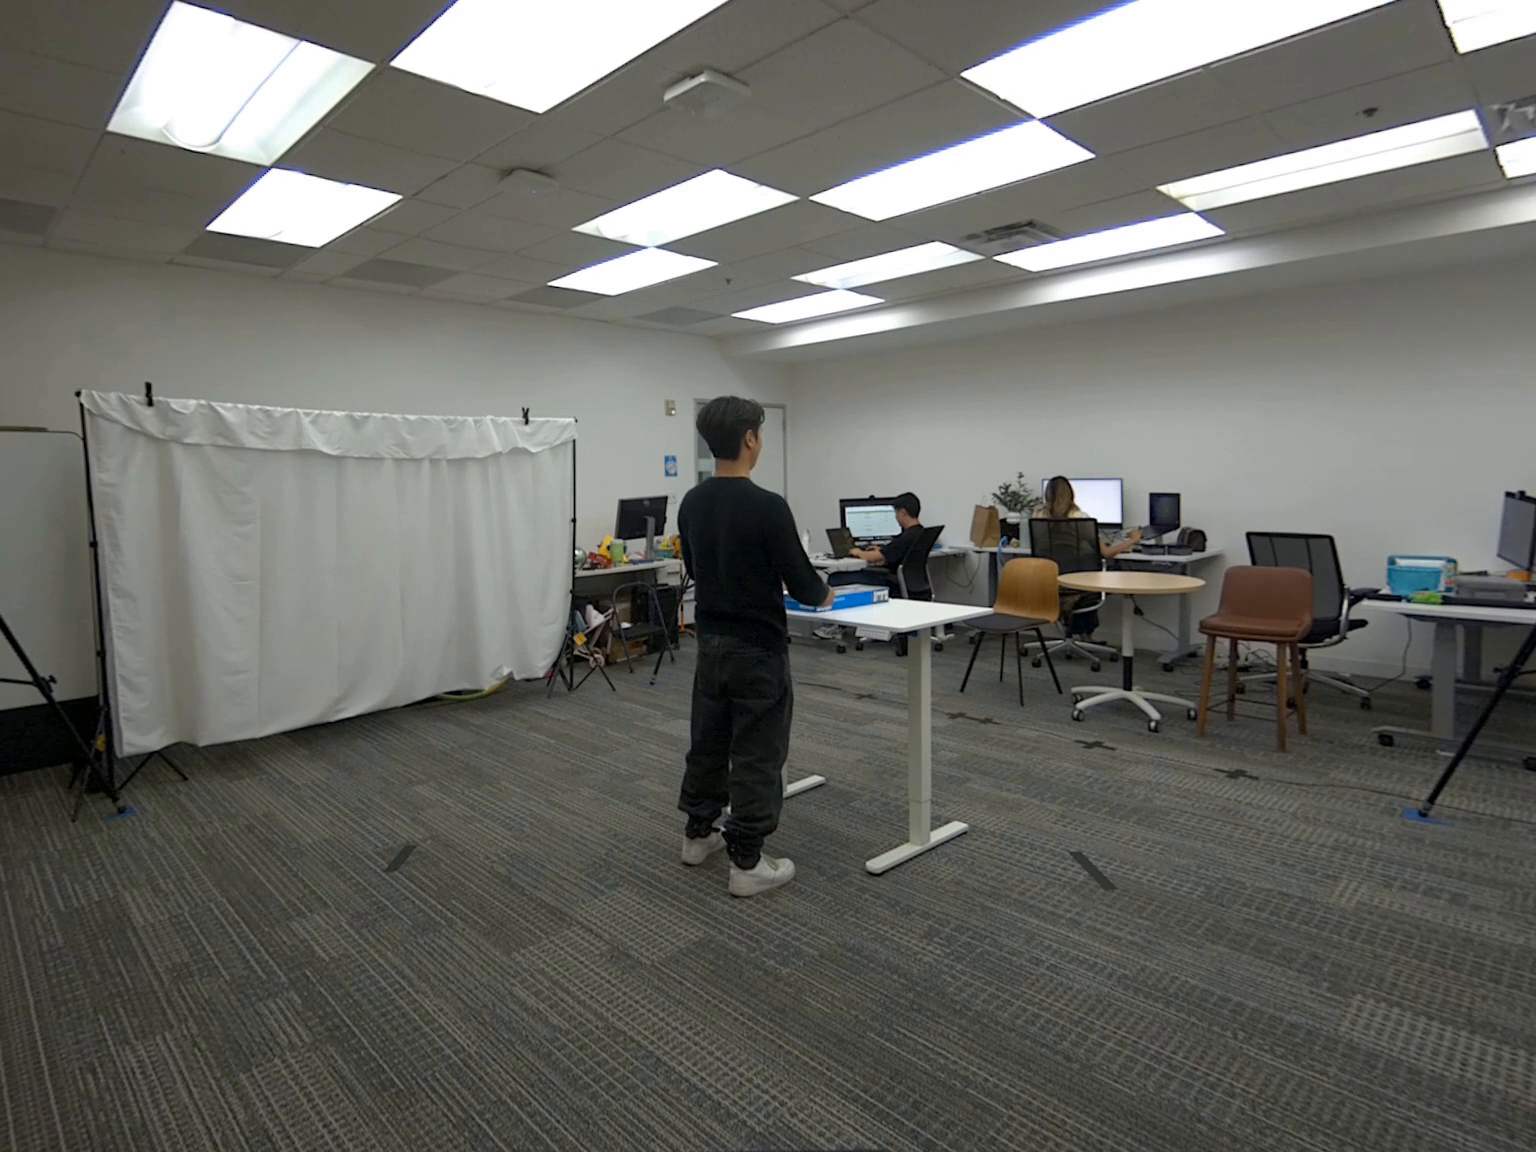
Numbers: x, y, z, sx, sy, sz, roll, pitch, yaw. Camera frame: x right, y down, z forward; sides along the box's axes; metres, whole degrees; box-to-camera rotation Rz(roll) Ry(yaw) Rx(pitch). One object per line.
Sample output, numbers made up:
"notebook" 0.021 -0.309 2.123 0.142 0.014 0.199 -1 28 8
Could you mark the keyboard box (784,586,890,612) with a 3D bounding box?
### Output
"keyboard box" 0.284 0.089 3.426 0.425 0.059 0.181 -7 9 -41
